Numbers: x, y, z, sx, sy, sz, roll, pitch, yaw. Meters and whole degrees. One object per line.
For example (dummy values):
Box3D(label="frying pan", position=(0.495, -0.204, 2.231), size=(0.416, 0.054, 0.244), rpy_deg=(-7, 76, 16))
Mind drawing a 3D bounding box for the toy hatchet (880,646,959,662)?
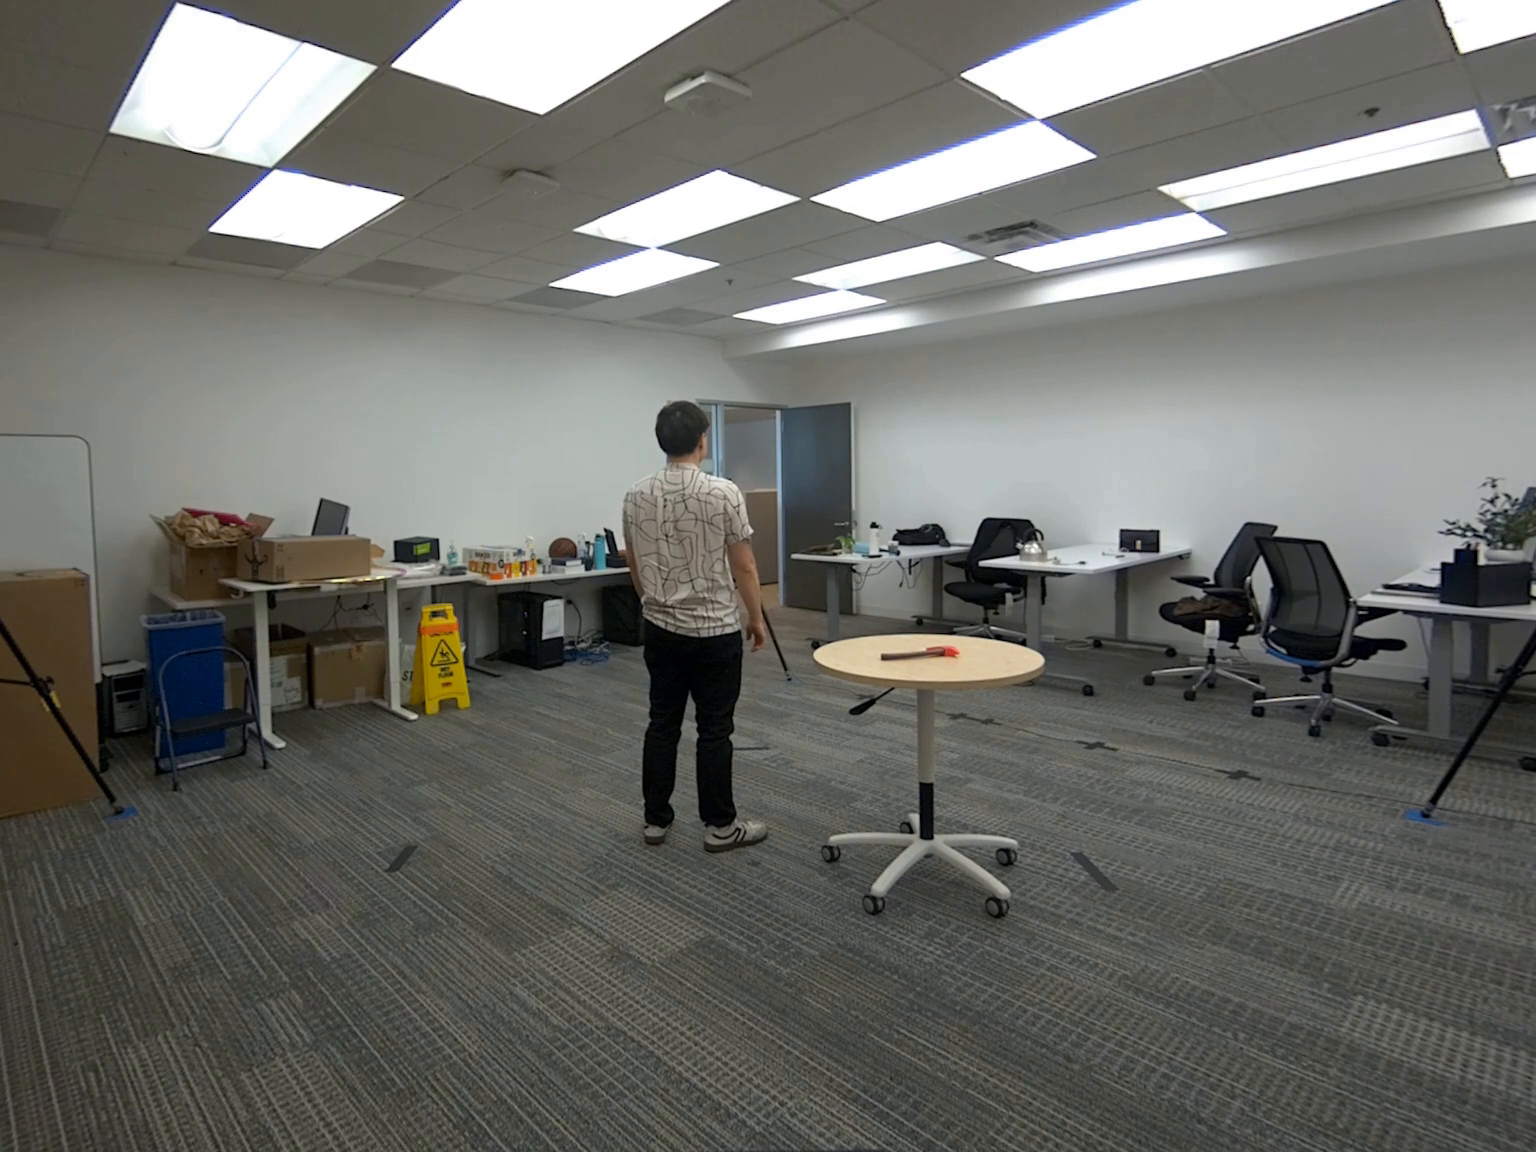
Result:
Box3D(label="toy hatchet", position=(0.510, 0.260, 2.914), size=(0.270, 0.029, 0.132), rpy_deg=(-2, 5, -2))
